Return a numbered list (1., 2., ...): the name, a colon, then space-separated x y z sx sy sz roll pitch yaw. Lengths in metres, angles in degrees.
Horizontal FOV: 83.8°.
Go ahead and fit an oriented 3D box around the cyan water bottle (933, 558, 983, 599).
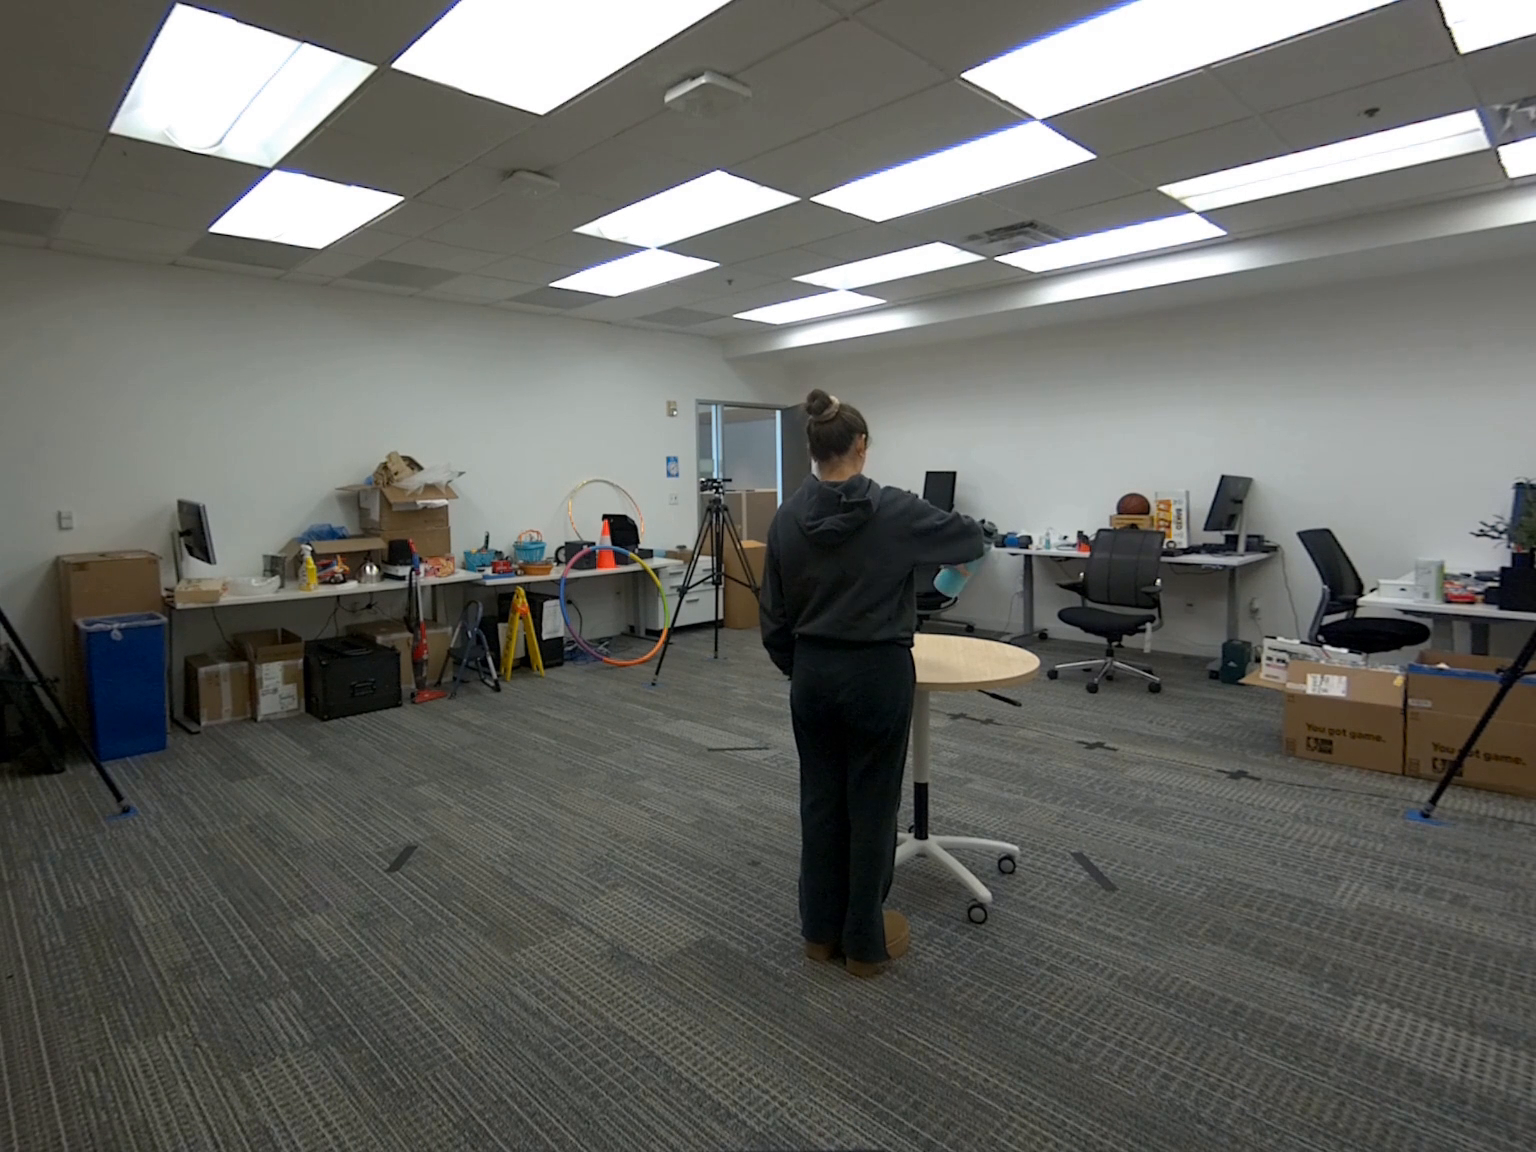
1. cyan water bottle: 0.651 -0.062 2.757 0.091 0.280 0.095 18 30 -13
